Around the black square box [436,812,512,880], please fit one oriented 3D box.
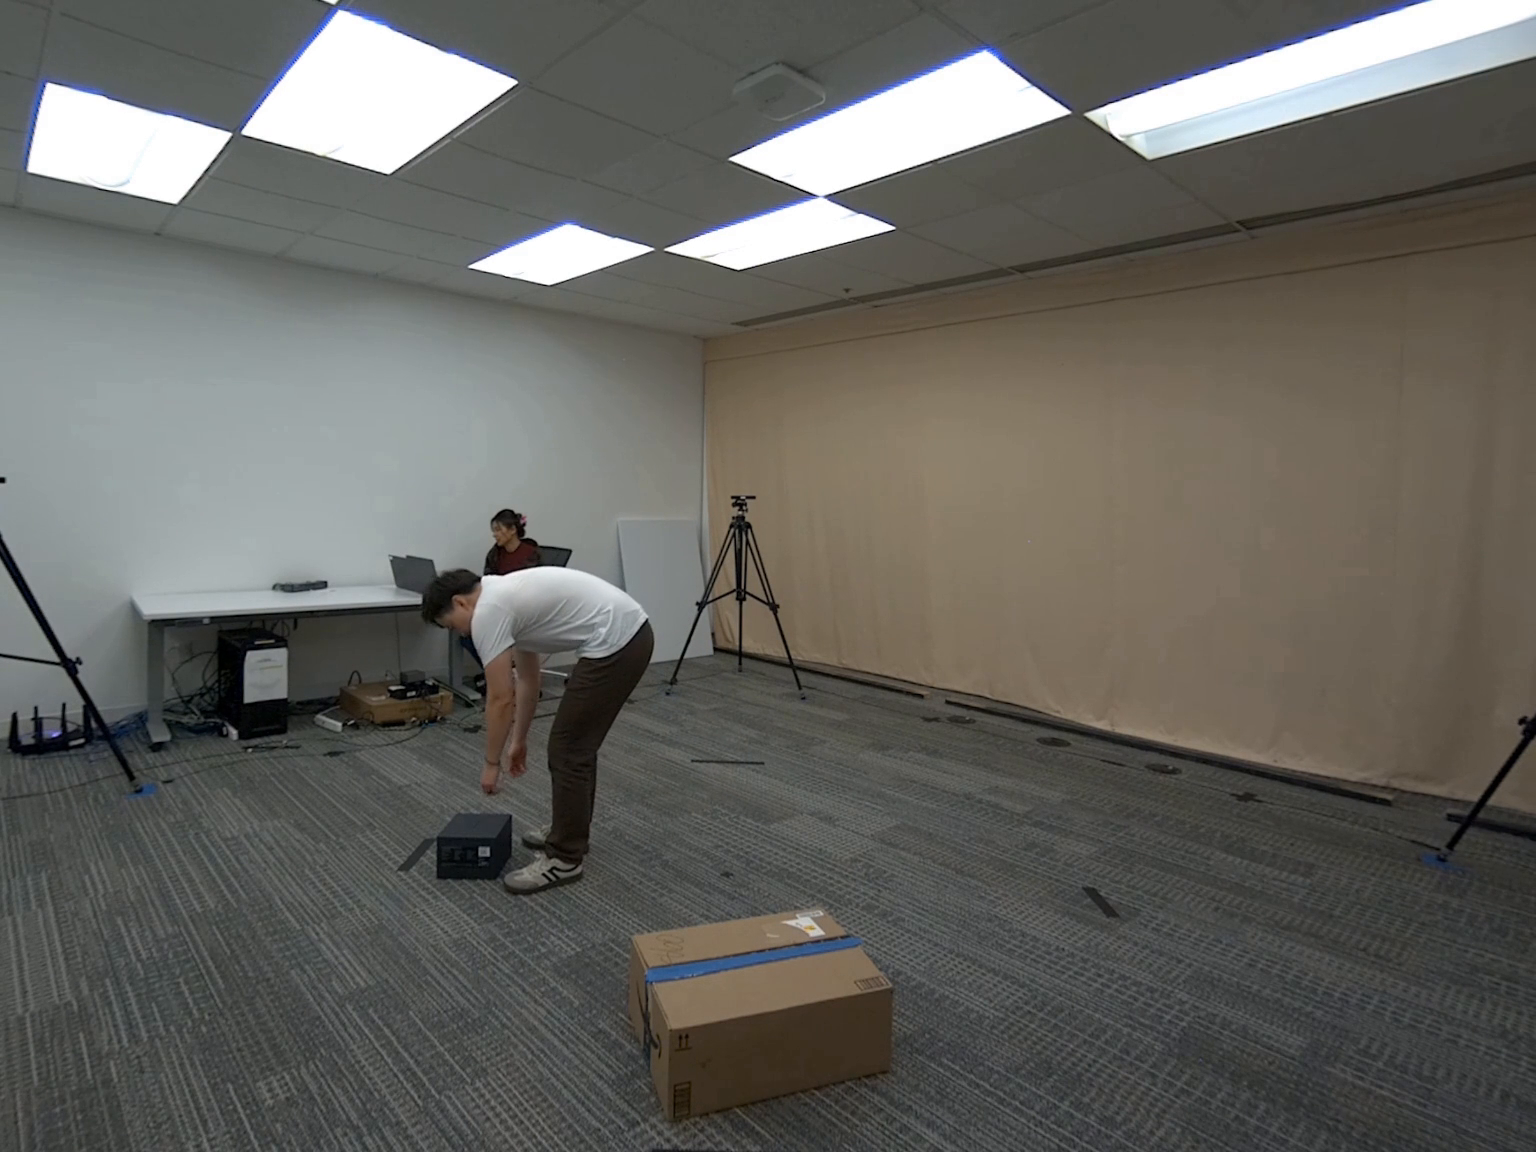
[{"bbox_3d":[-1.090,0.994,3.123,0.217,0.155,0.229,2,5,-2],"label":"black square box"}]
